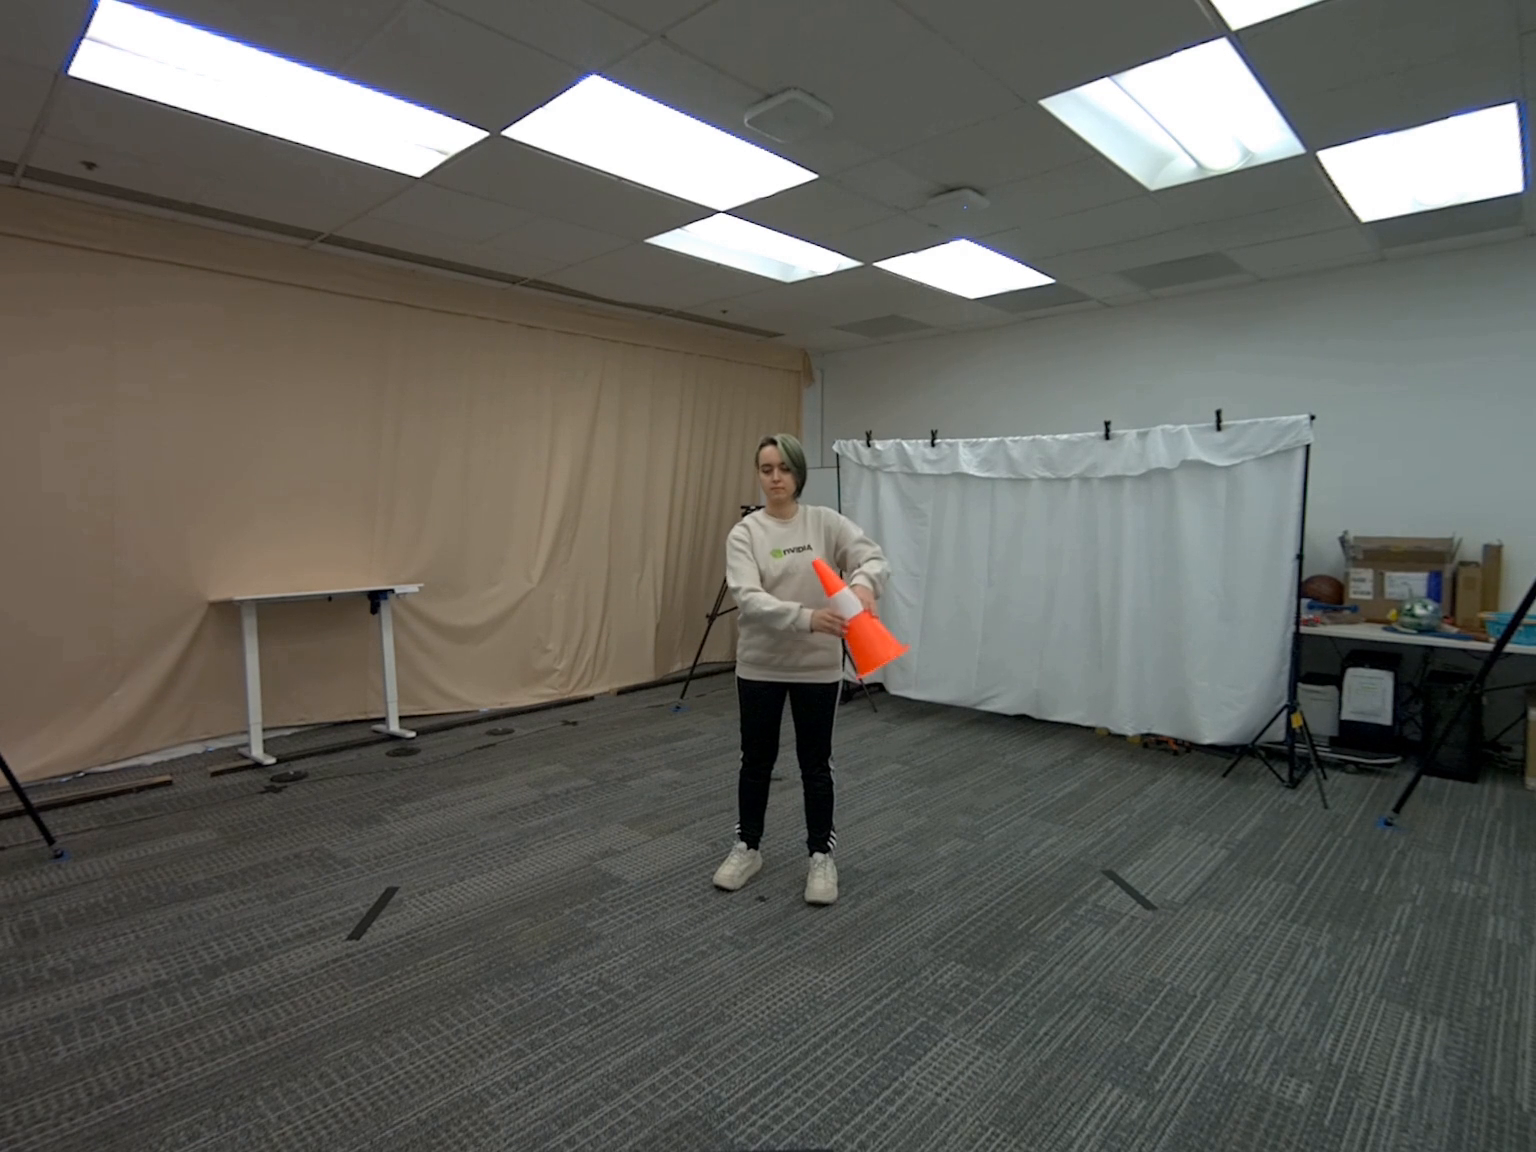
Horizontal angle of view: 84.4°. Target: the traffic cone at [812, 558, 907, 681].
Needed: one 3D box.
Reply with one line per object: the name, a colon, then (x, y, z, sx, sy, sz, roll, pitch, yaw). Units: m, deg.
traffic cone: (0.248, 0.103, 2.650, 0.206, 0.387, 0.201, -33, -7, 8)
